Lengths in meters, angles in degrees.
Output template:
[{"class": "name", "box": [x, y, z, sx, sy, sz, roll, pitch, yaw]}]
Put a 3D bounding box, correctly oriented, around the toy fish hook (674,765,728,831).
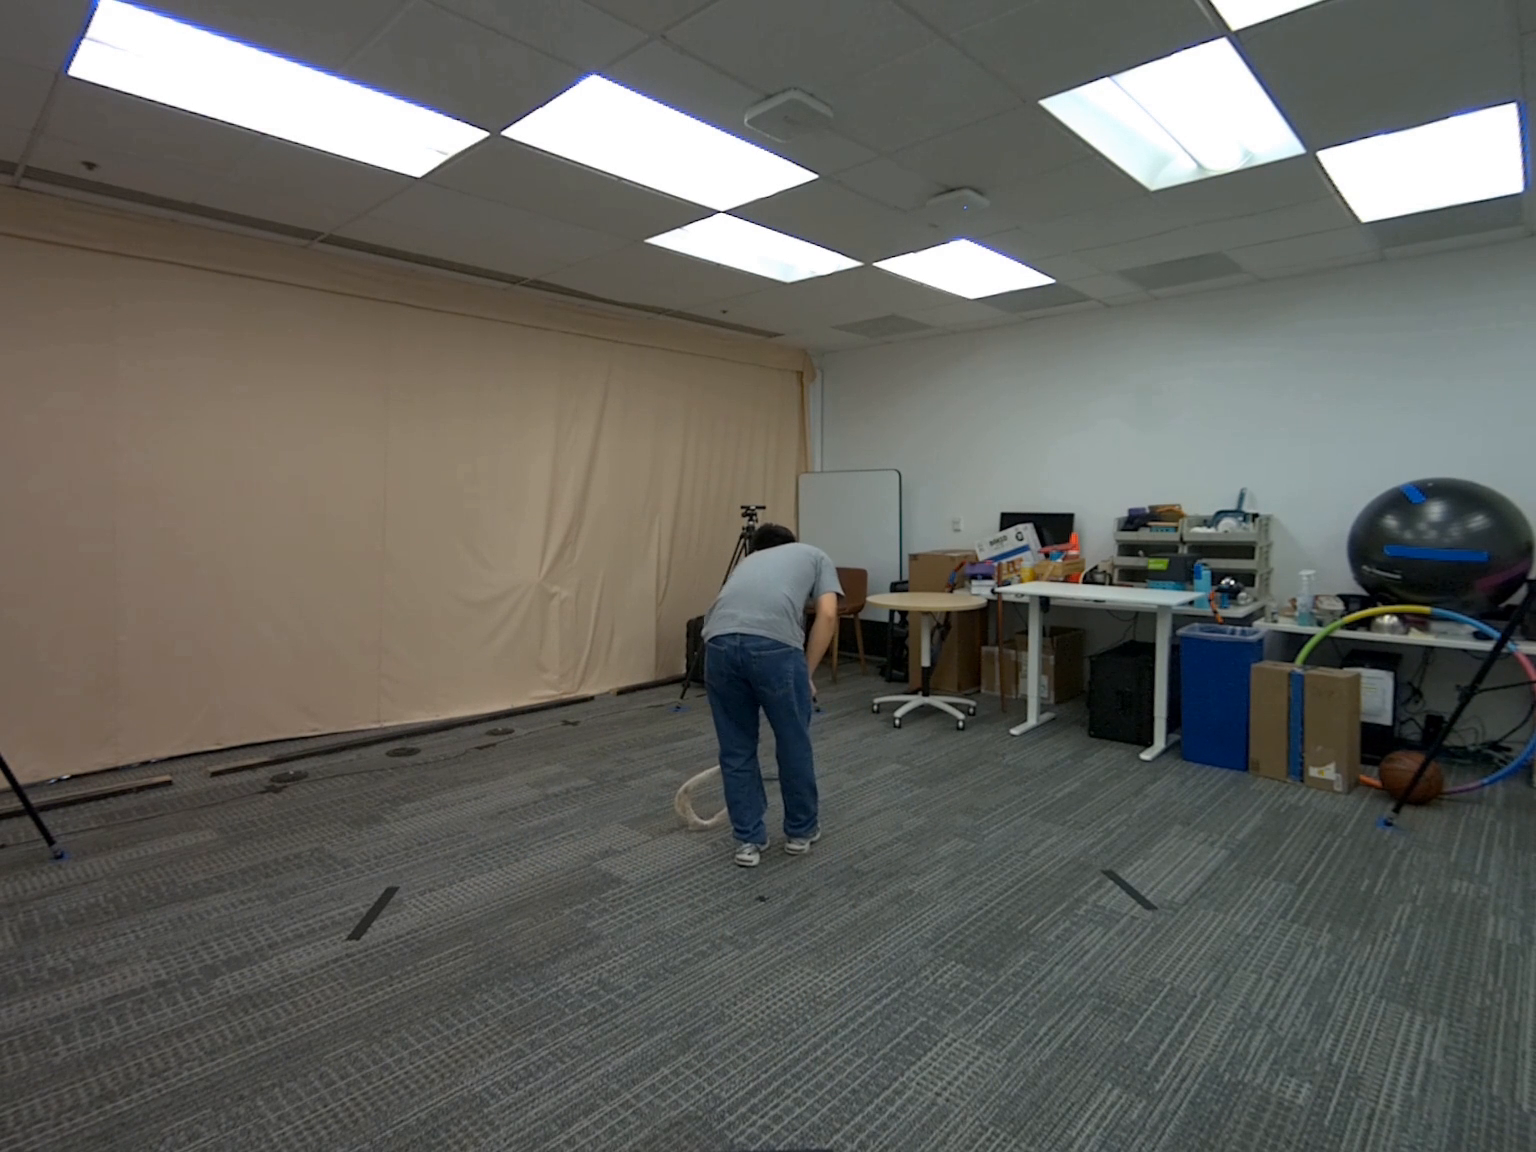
[{"class": "toy fish hook", "box": [-0.180, 0.885, 3.619, 0.226, 0.507, 0.048, 45, 1, 7]}]
